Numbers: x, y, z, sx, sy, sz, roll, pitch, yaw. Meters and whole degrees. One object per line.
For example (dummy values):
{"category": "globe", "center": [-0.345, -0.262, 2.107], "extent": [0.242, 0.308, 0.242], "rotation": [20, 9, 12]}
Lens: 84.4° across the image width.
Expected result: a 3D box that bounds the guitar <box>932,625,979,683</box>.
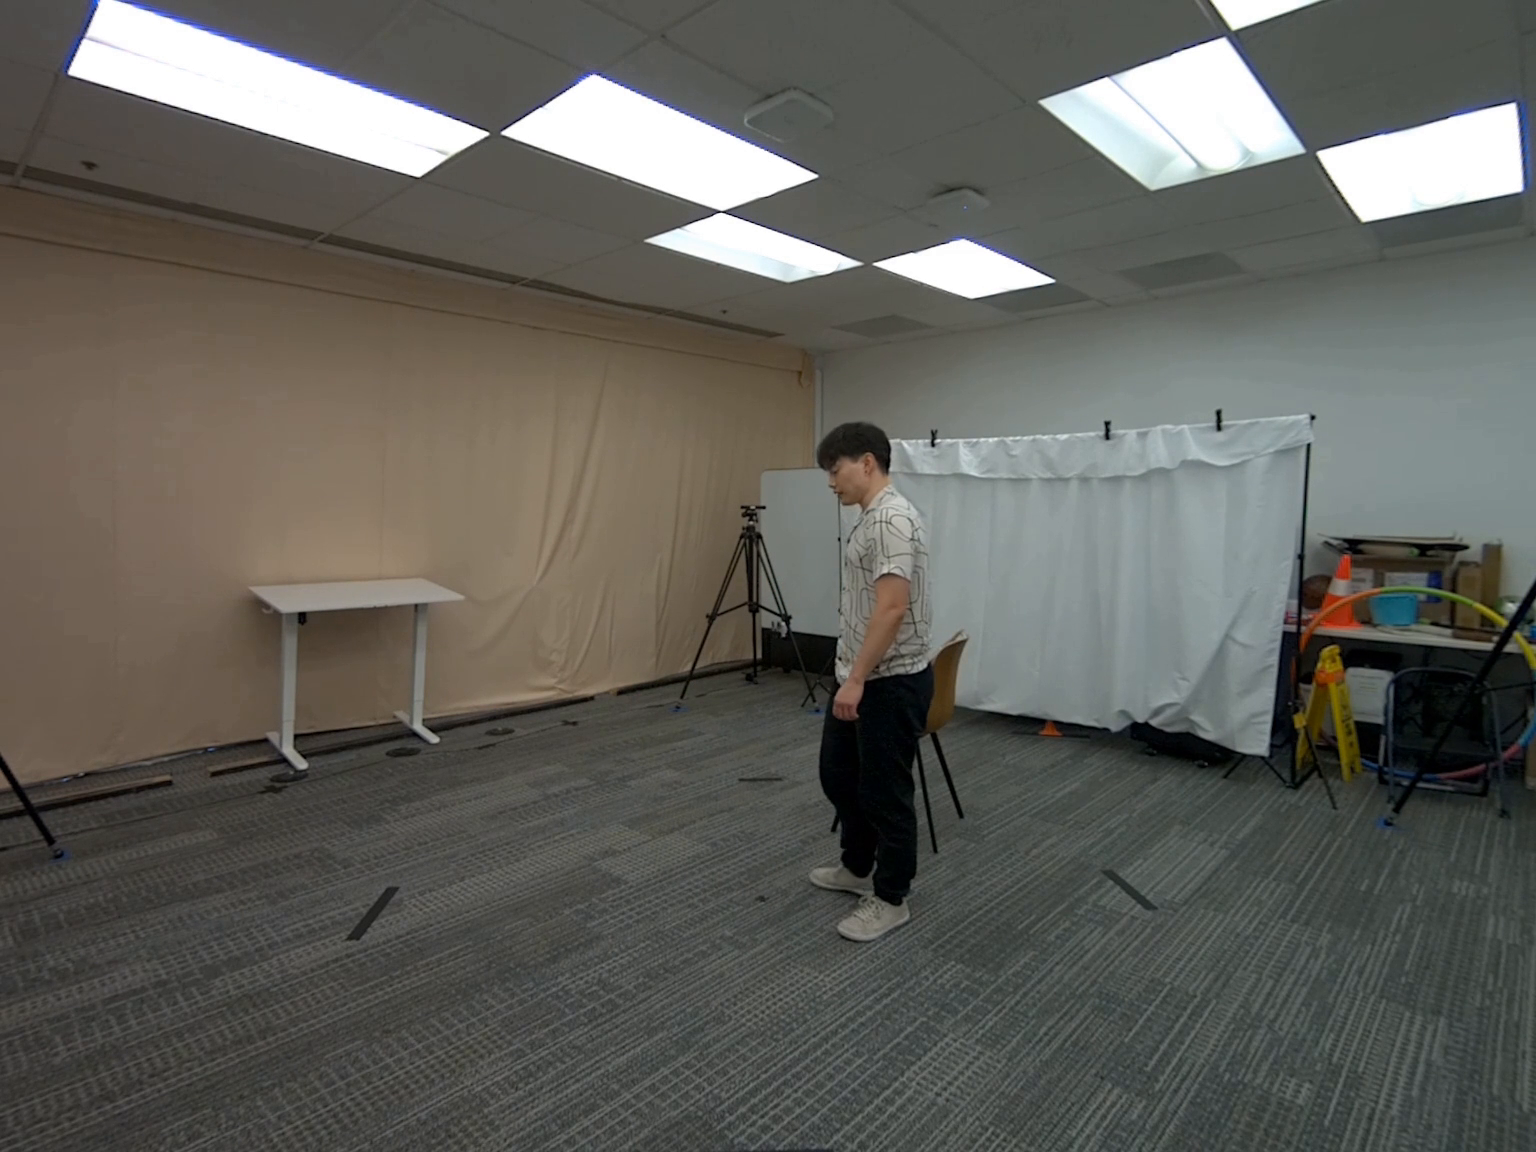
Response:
{"category": "guitar", "center": [0.664, 0.420, 3.552], "extent": [0.072, 0.499, 0.189], "rotation": [45, 26, 13]}
